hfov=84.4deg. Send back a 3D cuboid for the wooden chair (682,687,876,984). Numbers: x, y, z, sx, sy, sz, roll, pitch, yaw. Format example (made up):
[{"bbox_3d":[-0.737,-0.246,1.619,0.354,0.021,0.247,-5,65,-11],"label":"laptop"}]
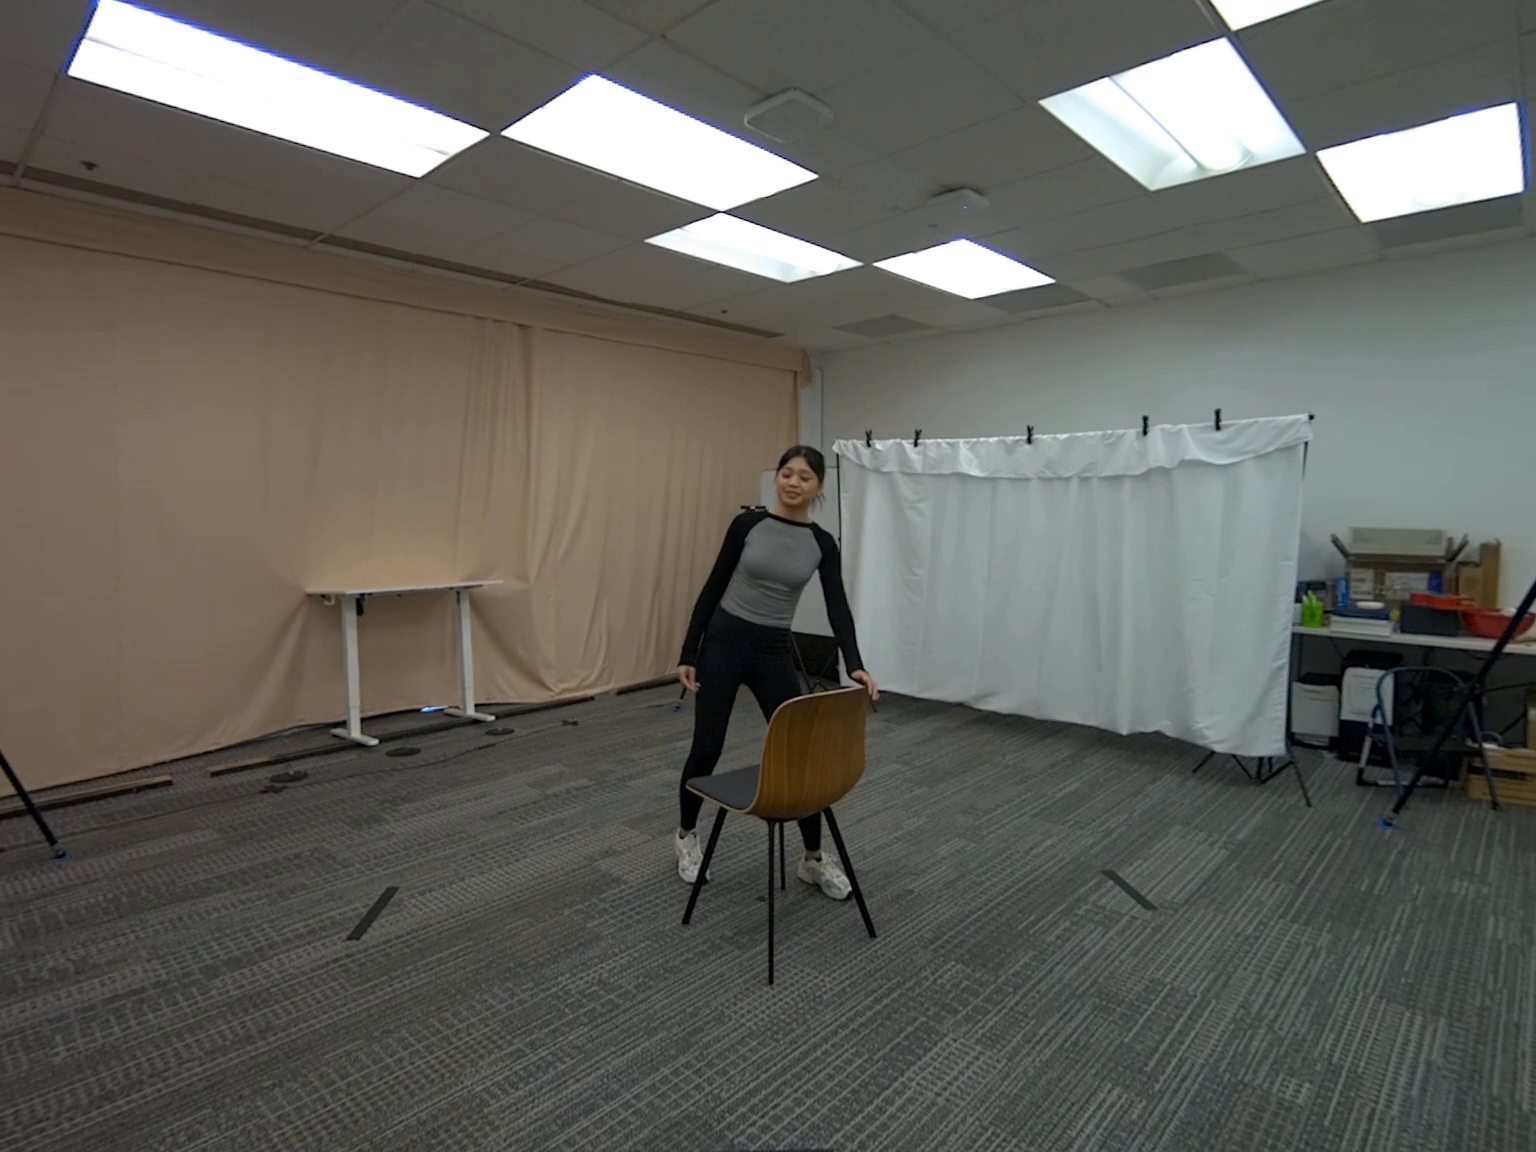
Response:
[{"bbox_3d":[0.031,0.734,2.740,0.464,0.874,0.541,-3,9,-39],"label":"wooden chair"}]
